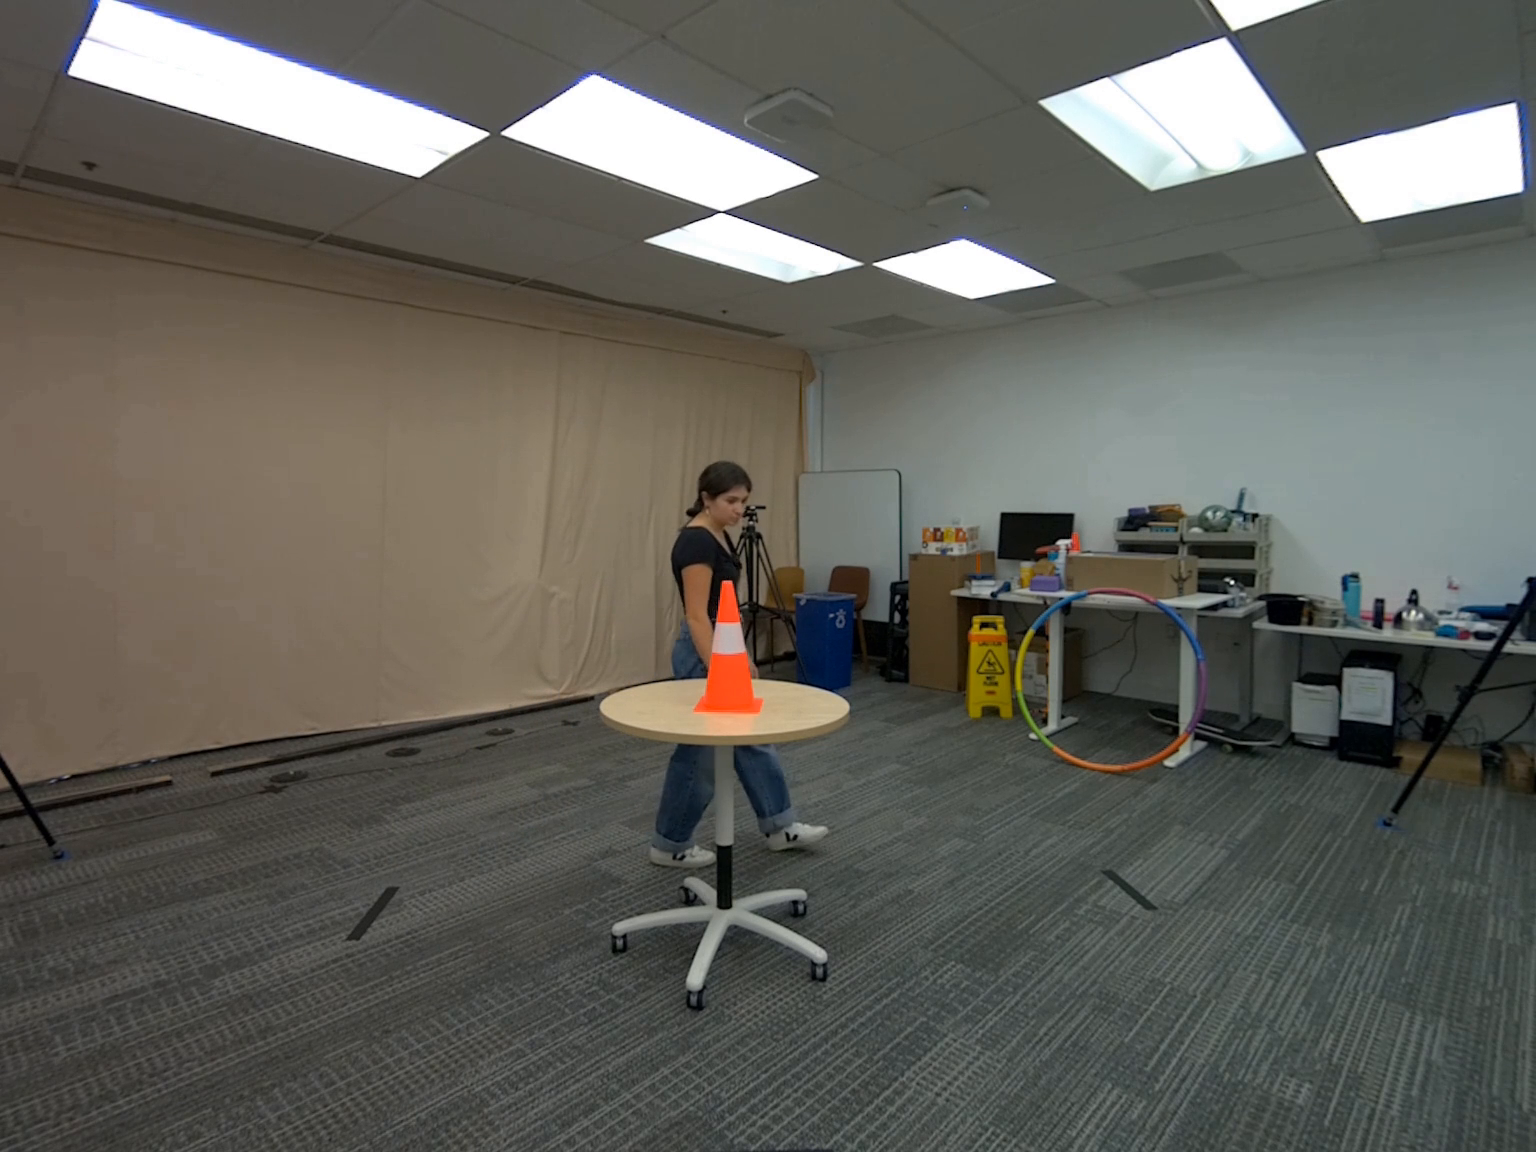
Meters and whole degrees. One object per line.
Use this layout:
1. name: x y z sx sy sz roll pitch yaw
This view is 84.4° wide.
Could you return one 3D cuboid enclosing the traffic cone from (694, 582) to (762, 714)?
1. traffic cone: -0.117 0.210 2.566 0.206 0.383 0.202 0 3 5
